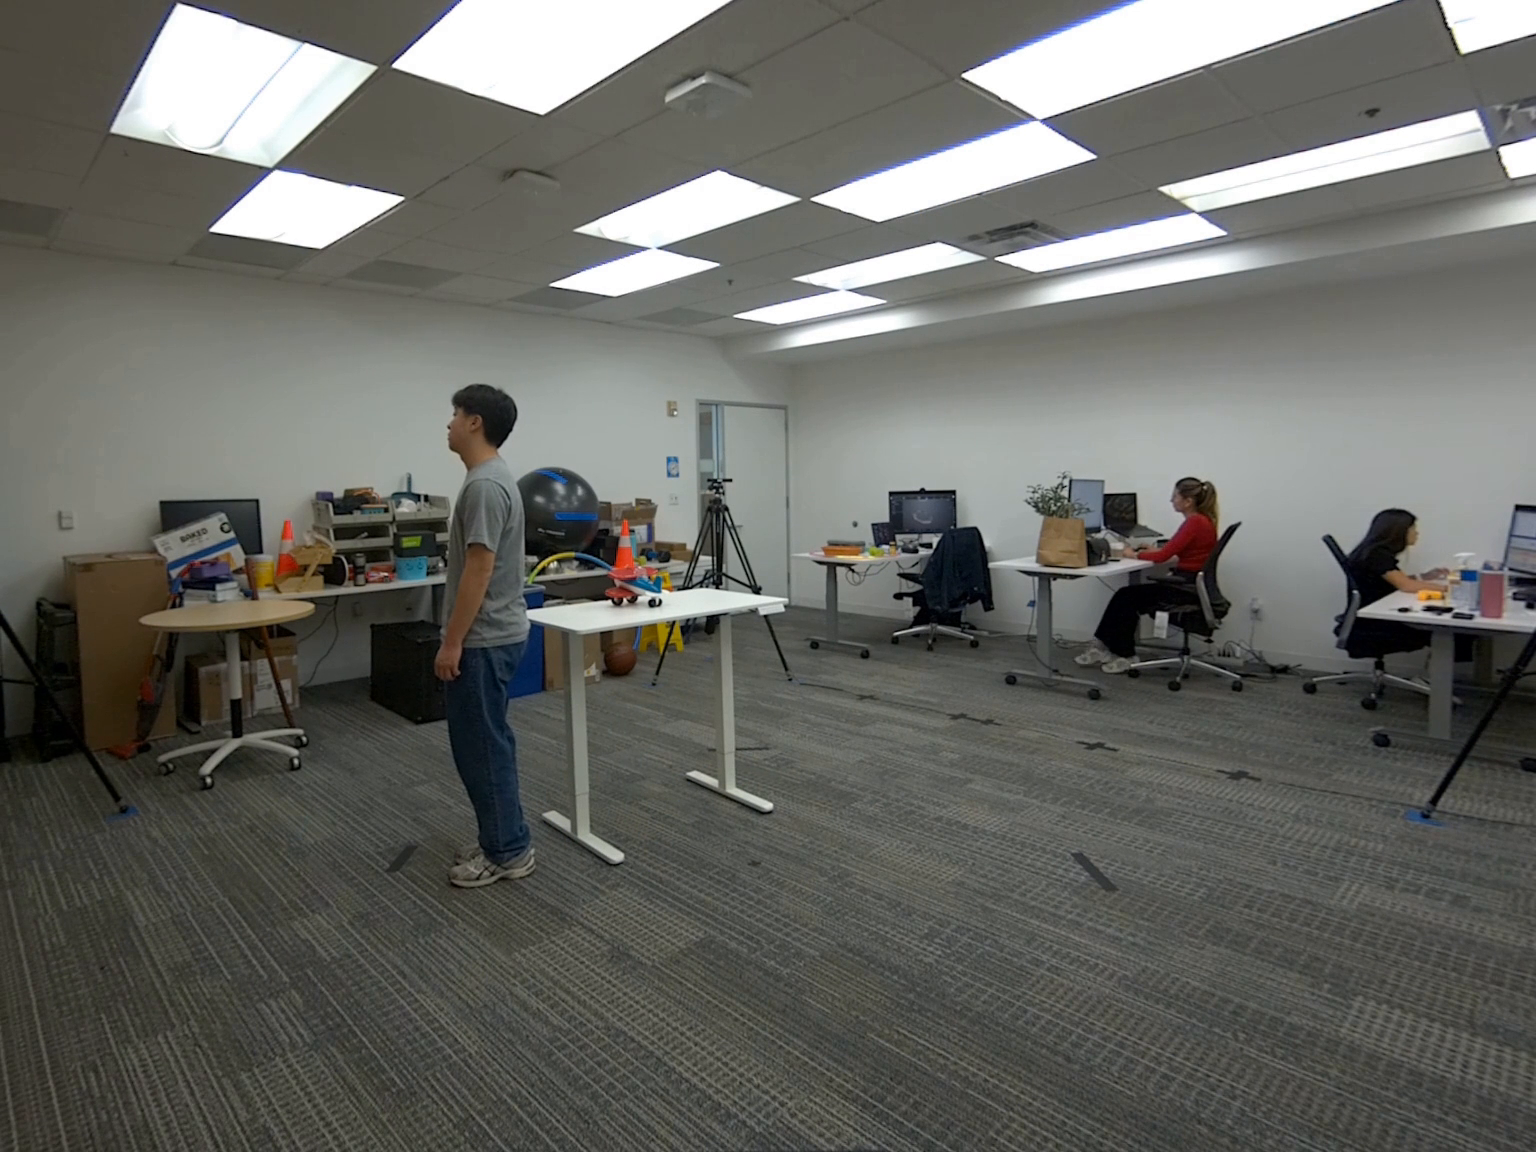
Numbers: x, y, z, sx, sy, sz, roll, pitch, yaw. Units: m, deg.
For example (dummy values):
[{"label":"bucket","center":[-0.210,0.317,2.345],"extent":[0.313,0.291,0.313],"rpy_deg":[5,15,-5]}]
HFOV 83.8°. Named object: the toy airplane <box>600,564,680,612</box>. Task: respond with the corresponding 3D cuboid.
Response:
[{"label":"toy airplane","center":[-0.529,0.044,3.559],"extent":[0.262,0.156,0.250],"rpy_deg":[-2,6,10]}]
